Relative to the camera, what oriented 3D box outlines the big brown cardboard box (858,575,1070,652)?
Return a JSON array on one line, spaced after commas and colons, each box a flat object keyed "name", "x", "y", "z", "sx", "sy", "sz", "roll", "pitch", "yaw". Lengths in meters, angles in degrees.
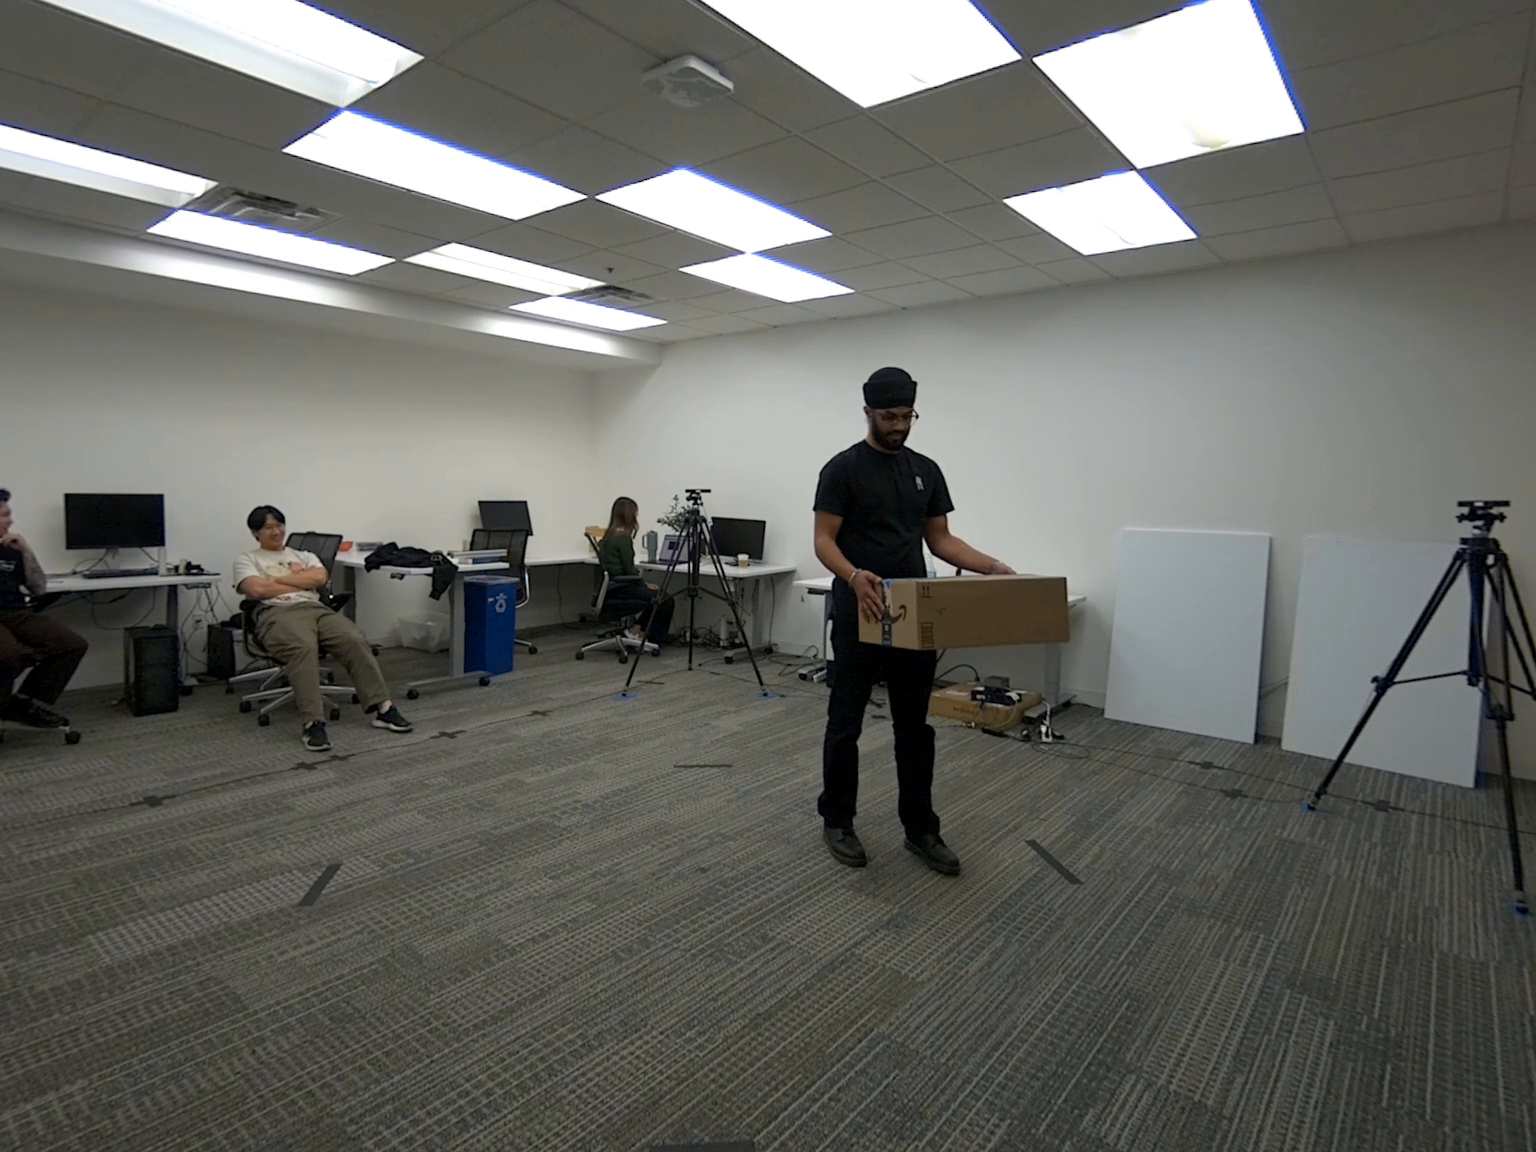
[{"name": "big brown cardboard box", "x": 0.649, "y": 0.114, "z": 2.915, "sx": 0.578, "sy": 0.233, "sz": 0.424, "roll": -2, "pitch": 0, "yaw": -18}]
